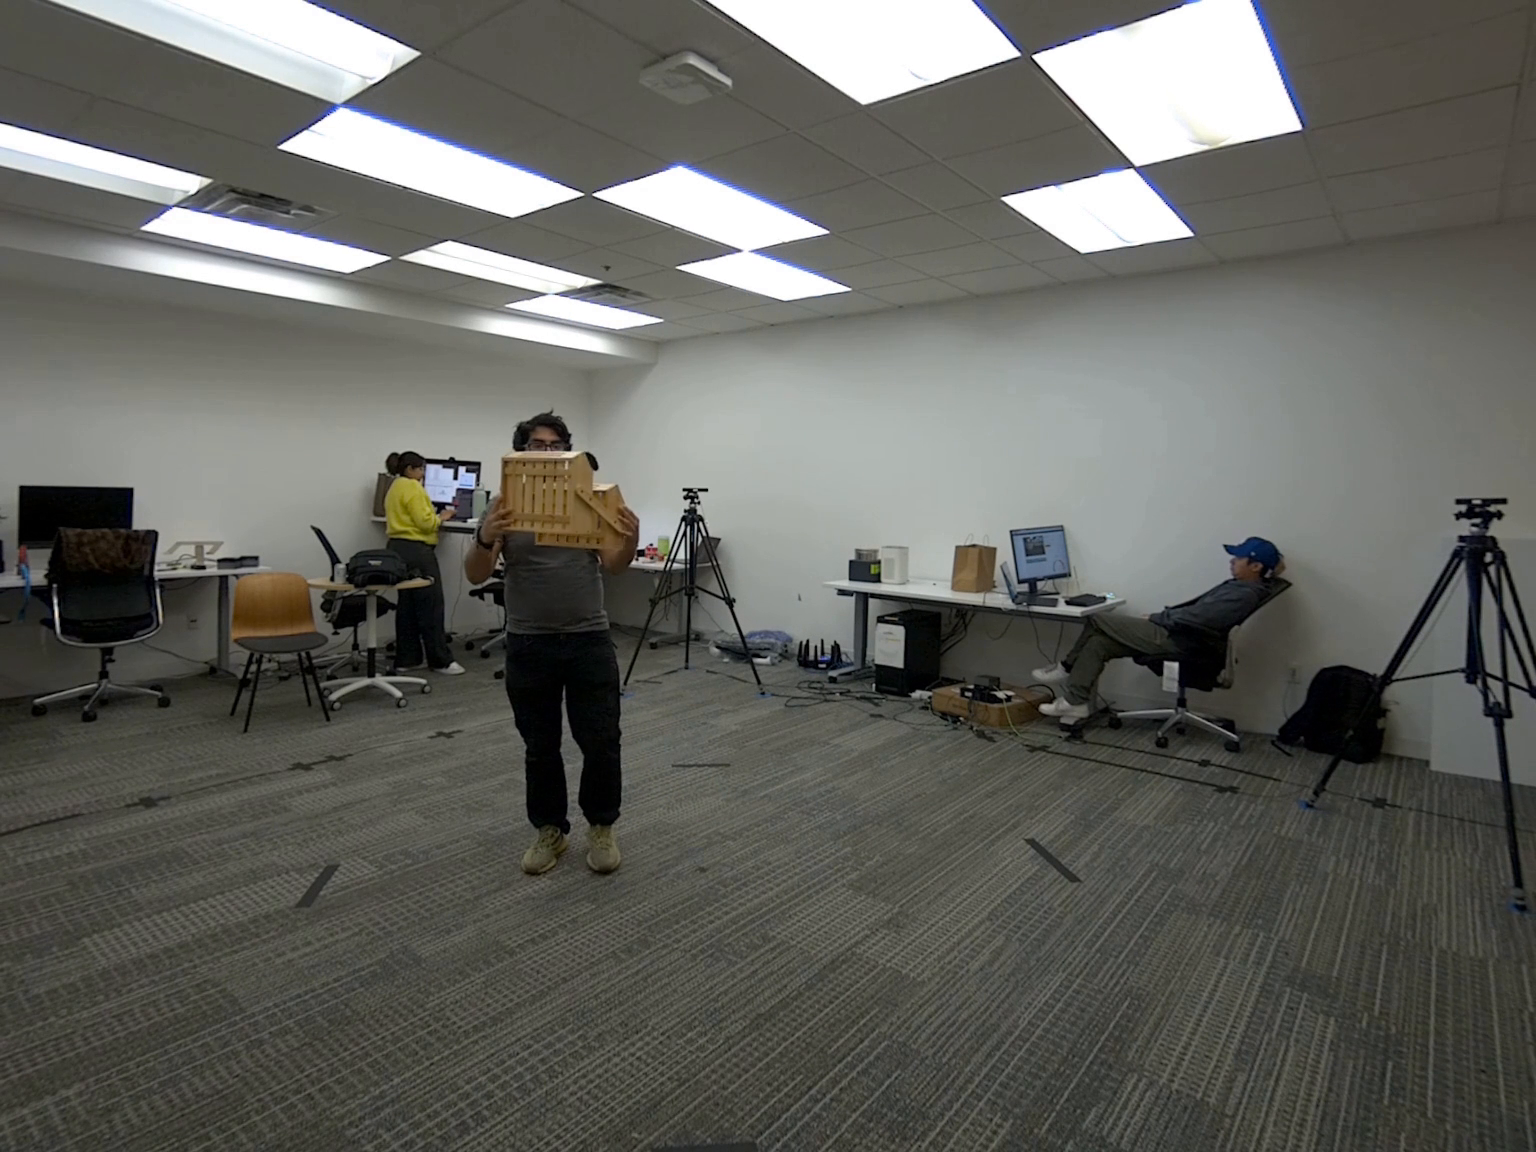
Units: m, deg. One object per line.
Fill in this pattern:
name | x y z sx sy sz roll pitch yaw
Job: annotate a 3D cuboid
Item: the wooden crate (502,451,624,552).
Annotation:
wooden crate | -0.663 -0.246 2.737 0.334 0.301 0.266 4 3 28
